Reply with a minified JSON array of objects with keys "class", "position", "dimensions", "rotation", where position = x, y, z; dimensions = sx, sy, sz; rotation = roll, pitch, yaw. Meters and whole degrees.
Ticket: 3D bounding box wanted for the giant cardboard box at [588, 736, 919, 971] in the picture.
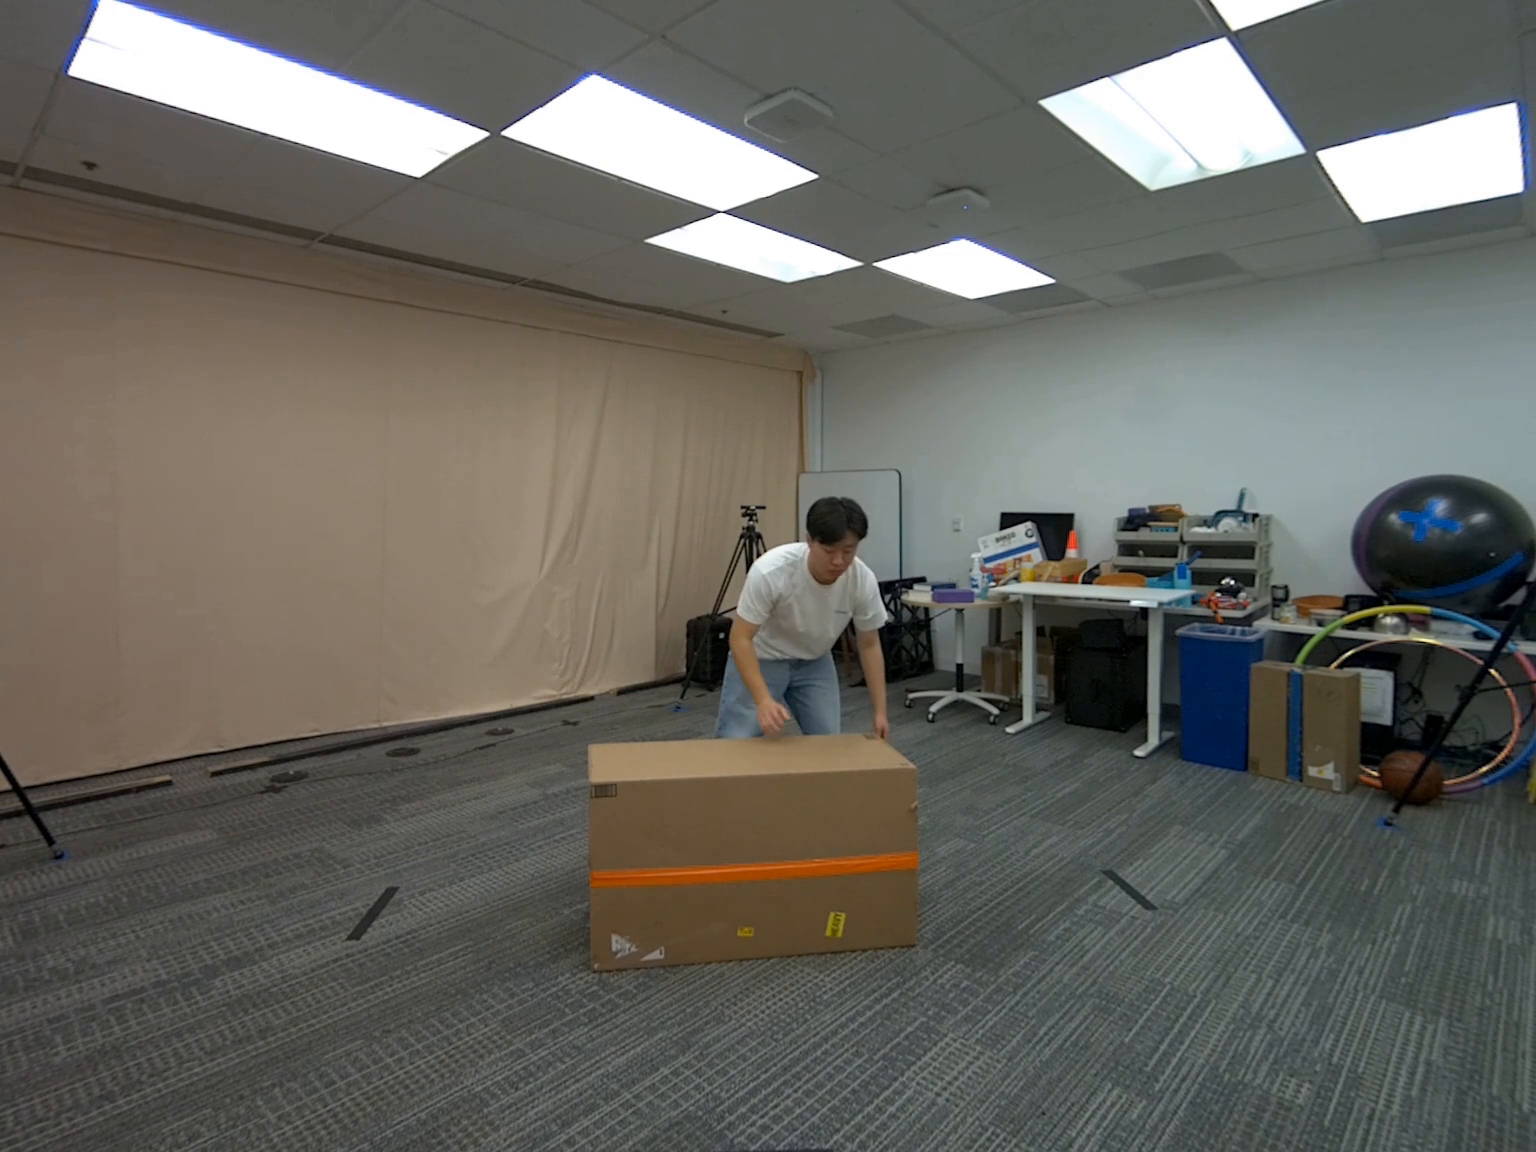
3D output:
[{"class":"giant cardboard box","position":[-0.074,0.870,2.768],"dimensions":[1.016,0.576,0.431],"rotation":[-1,3,-9]}]
